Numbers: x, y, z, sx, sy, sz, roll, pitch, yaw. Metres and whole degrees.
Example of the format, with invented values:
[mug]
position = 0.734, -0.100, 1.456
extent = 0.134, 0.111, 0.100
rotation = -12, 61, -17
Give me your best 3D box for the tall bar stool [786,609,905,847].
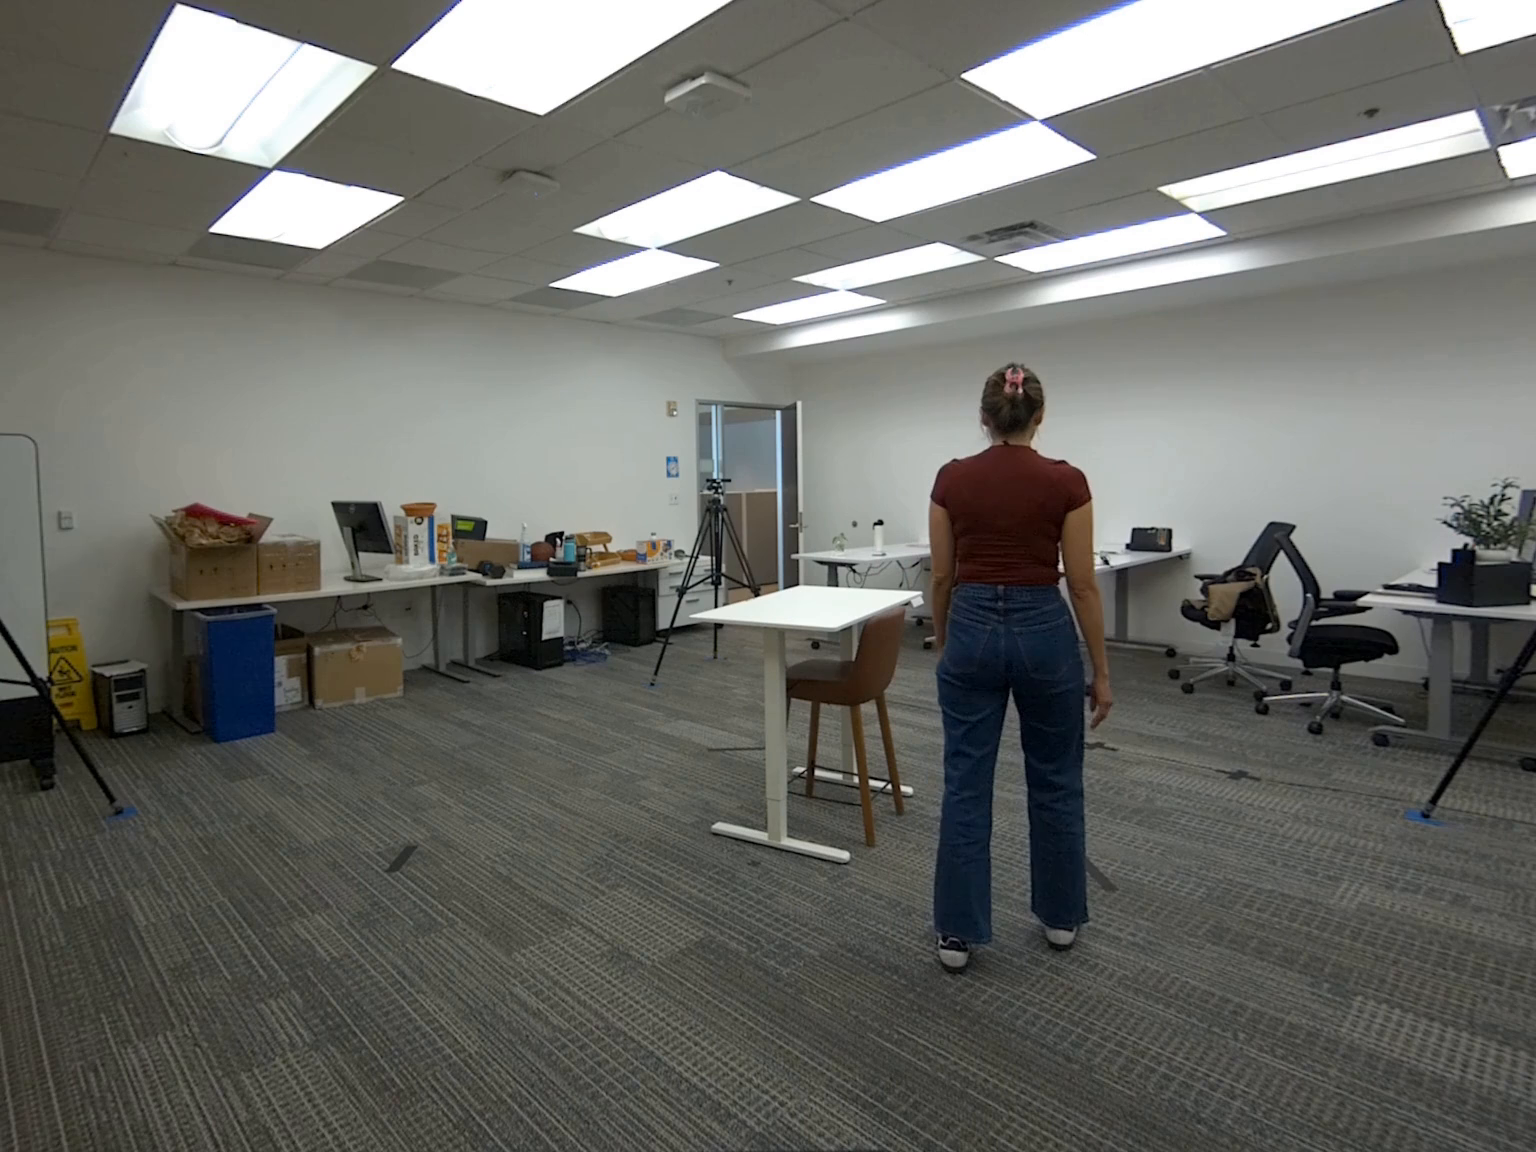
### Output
[tall bar stool]
position = 0.280, 0.566, 3.473
extent = 0.480, 0.886, 0.447
rotation = 3, 5, 29
